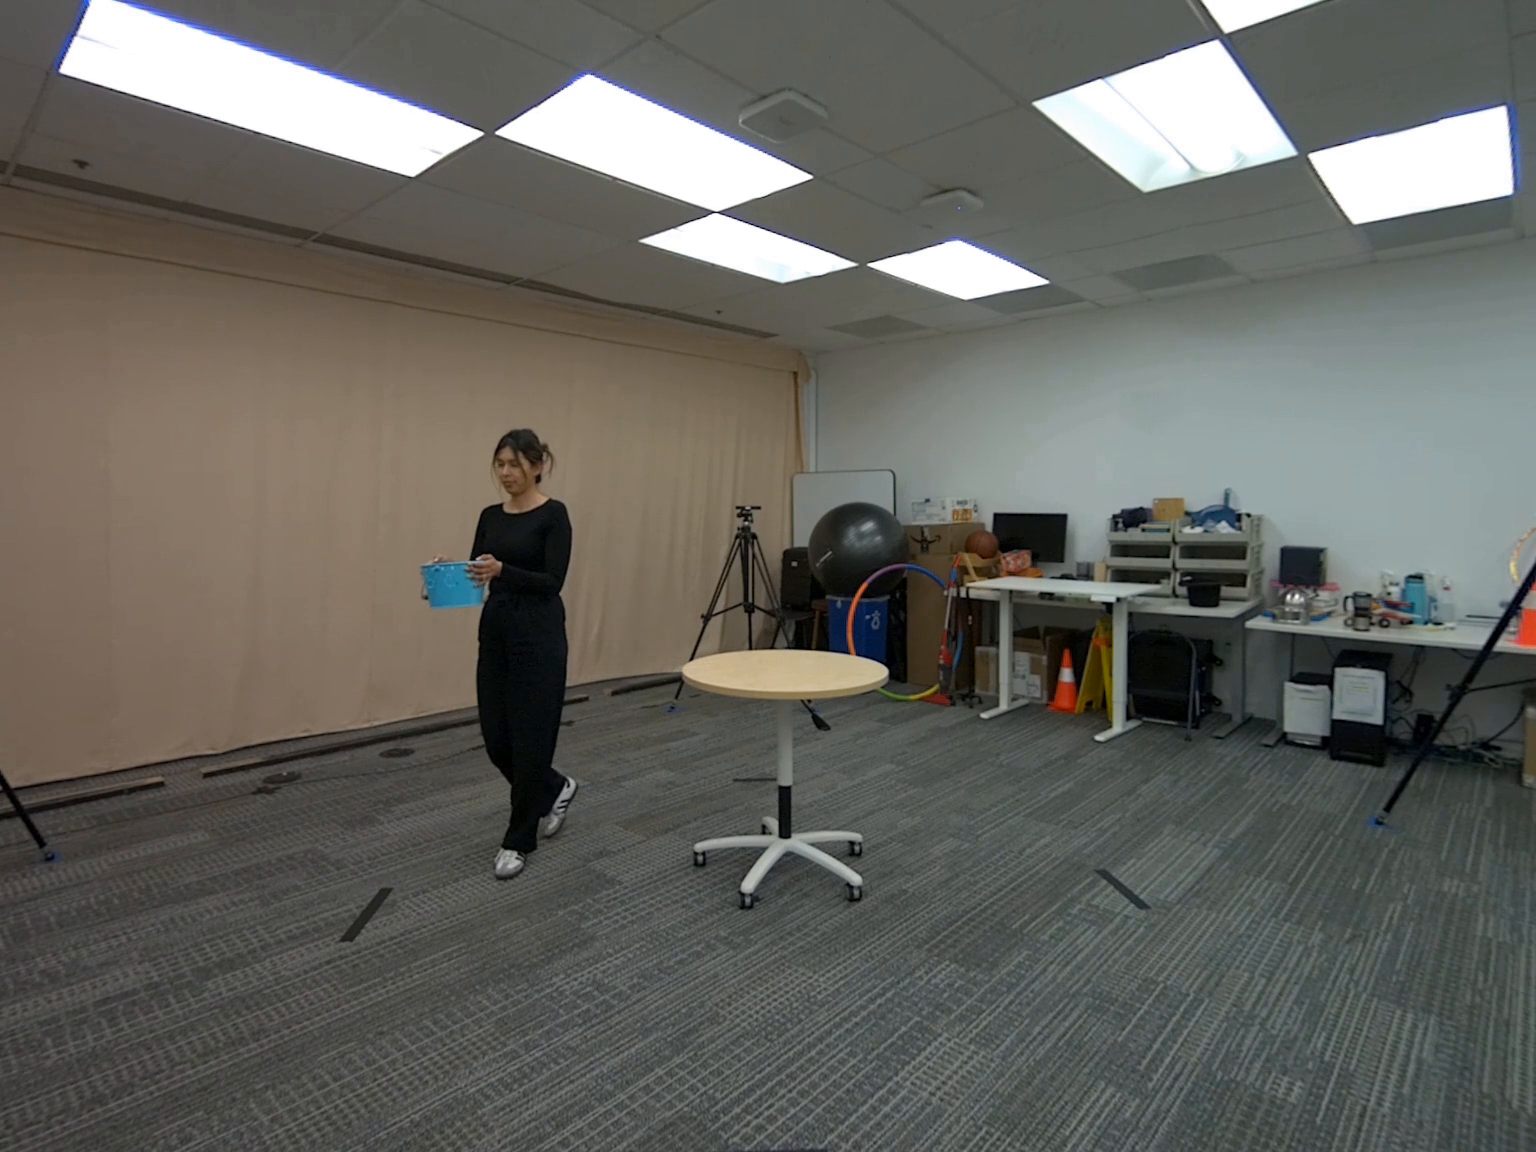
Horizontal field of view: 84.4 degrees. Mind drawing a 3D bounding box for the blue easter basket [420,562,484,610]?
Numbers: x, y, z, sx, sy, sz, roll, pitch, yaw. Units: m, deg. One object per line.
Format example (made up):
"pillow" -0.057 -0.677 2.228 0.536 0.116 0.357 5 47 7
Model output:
"blue easter basket" -1.112 0.033 3.007 0.243 0.156 0.244 -4 2 -2
